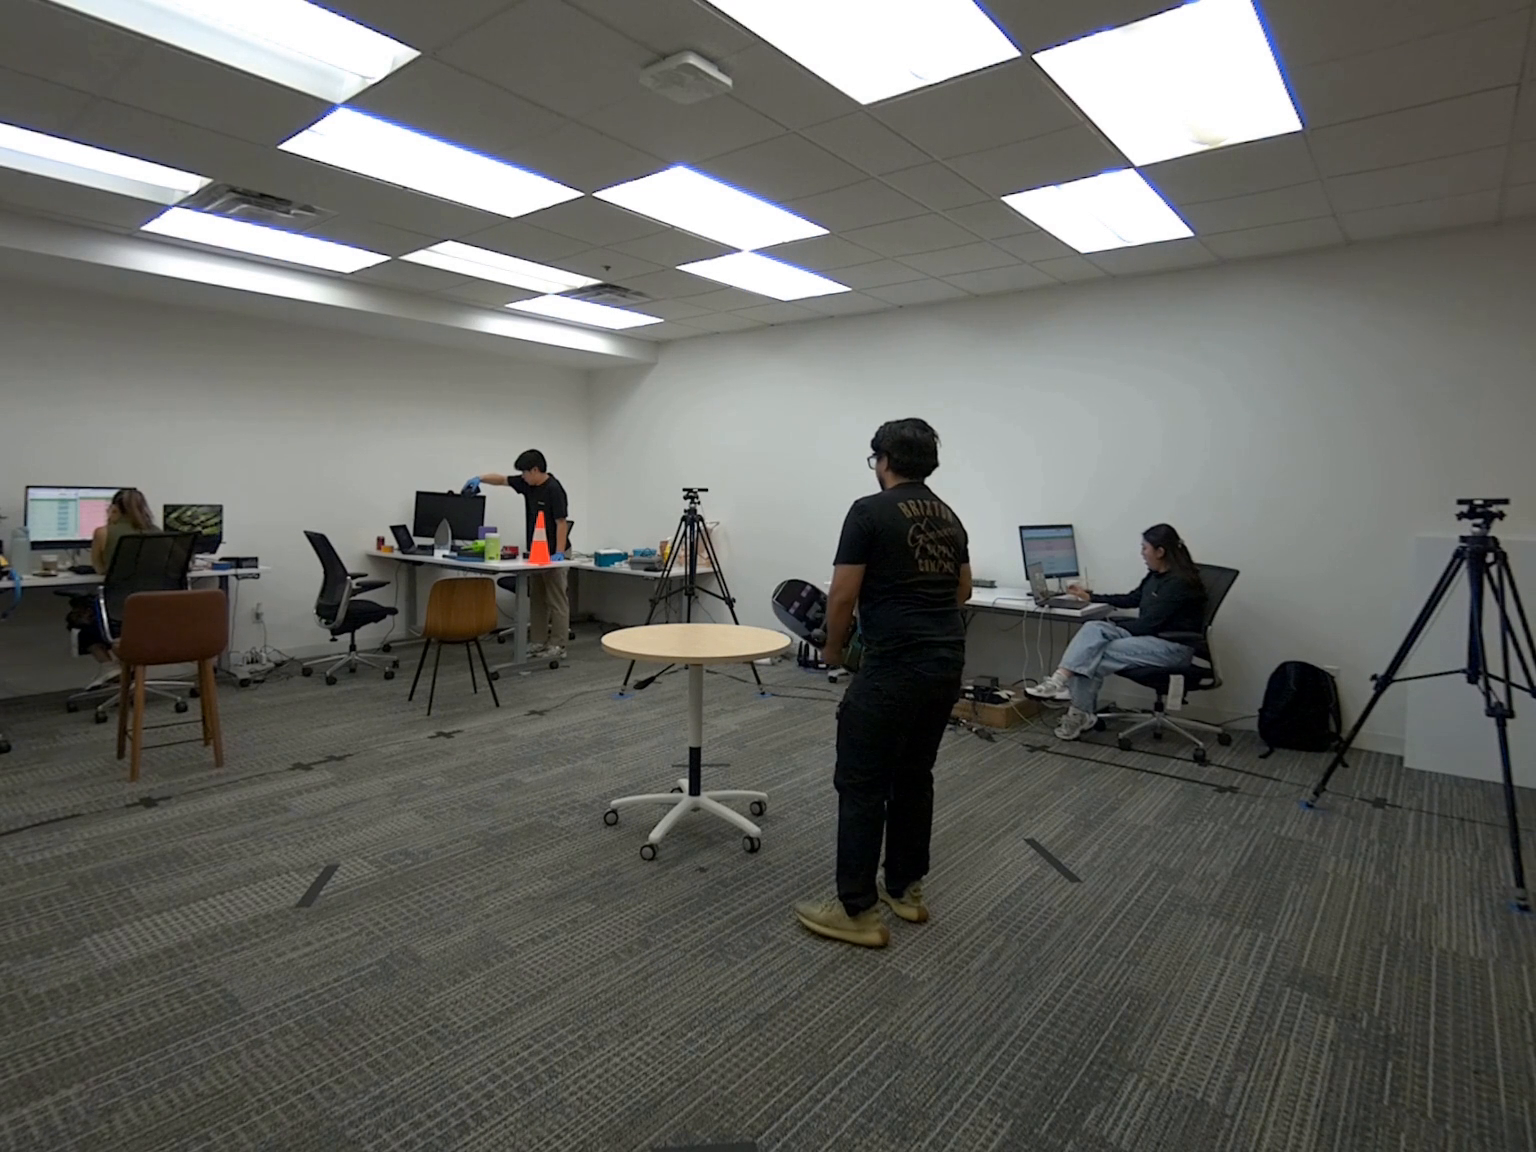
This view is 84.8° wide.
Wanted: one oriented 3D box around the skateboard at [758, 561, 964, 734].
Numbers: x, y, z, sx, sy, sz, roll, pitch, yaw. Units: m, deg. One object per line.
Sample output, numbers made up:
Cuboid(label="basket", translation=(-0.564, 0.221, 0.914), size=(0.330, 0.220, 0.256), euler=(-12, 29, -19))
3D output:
Cuboid(label="skateboard", translation=(0.339, 0.264, 3.006), size=(0.775, 0.195, 0.111), euler=(37, -29, -9))
